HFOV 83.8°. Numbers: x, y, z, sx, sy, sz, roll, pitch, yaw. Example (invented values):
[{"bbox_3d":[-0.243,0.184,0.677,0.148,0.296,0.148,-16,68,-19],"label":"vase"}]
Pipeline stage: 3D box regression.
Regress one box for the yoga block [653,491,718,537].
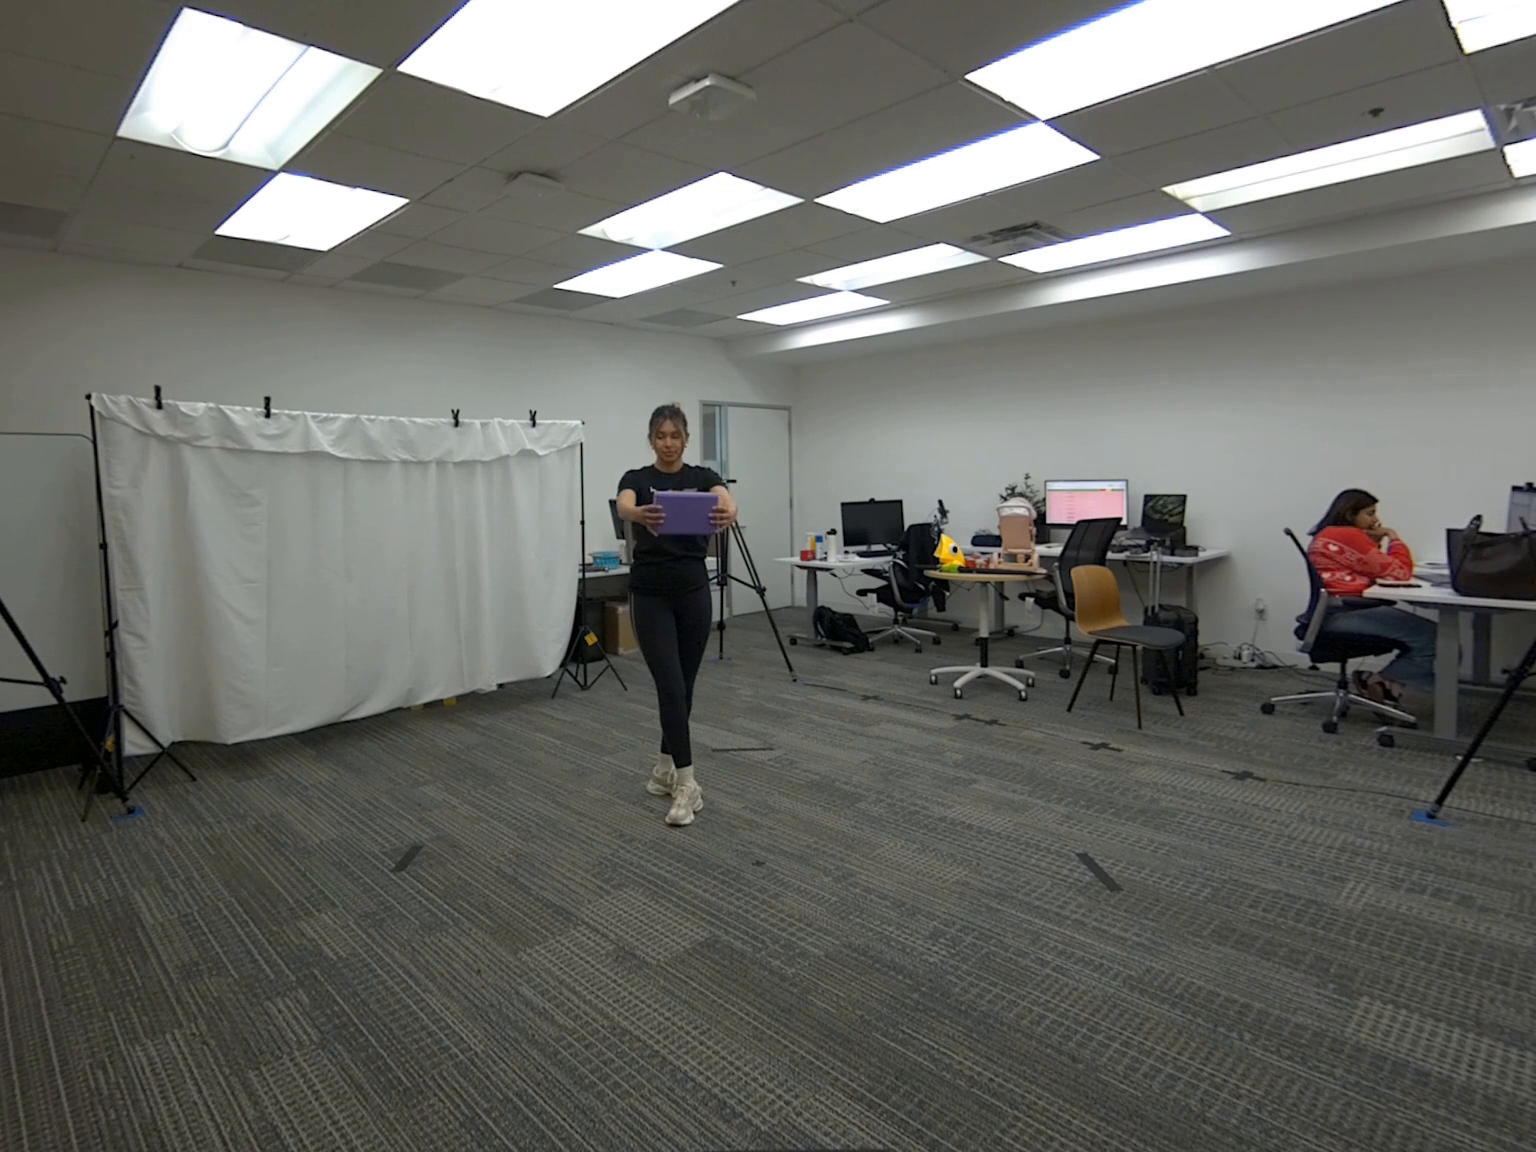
[{"bbox_3d":[-0.298,-0.229,3.104,0.226,0.148,0.078,0,11,-15],"label":"yoga block"}]
